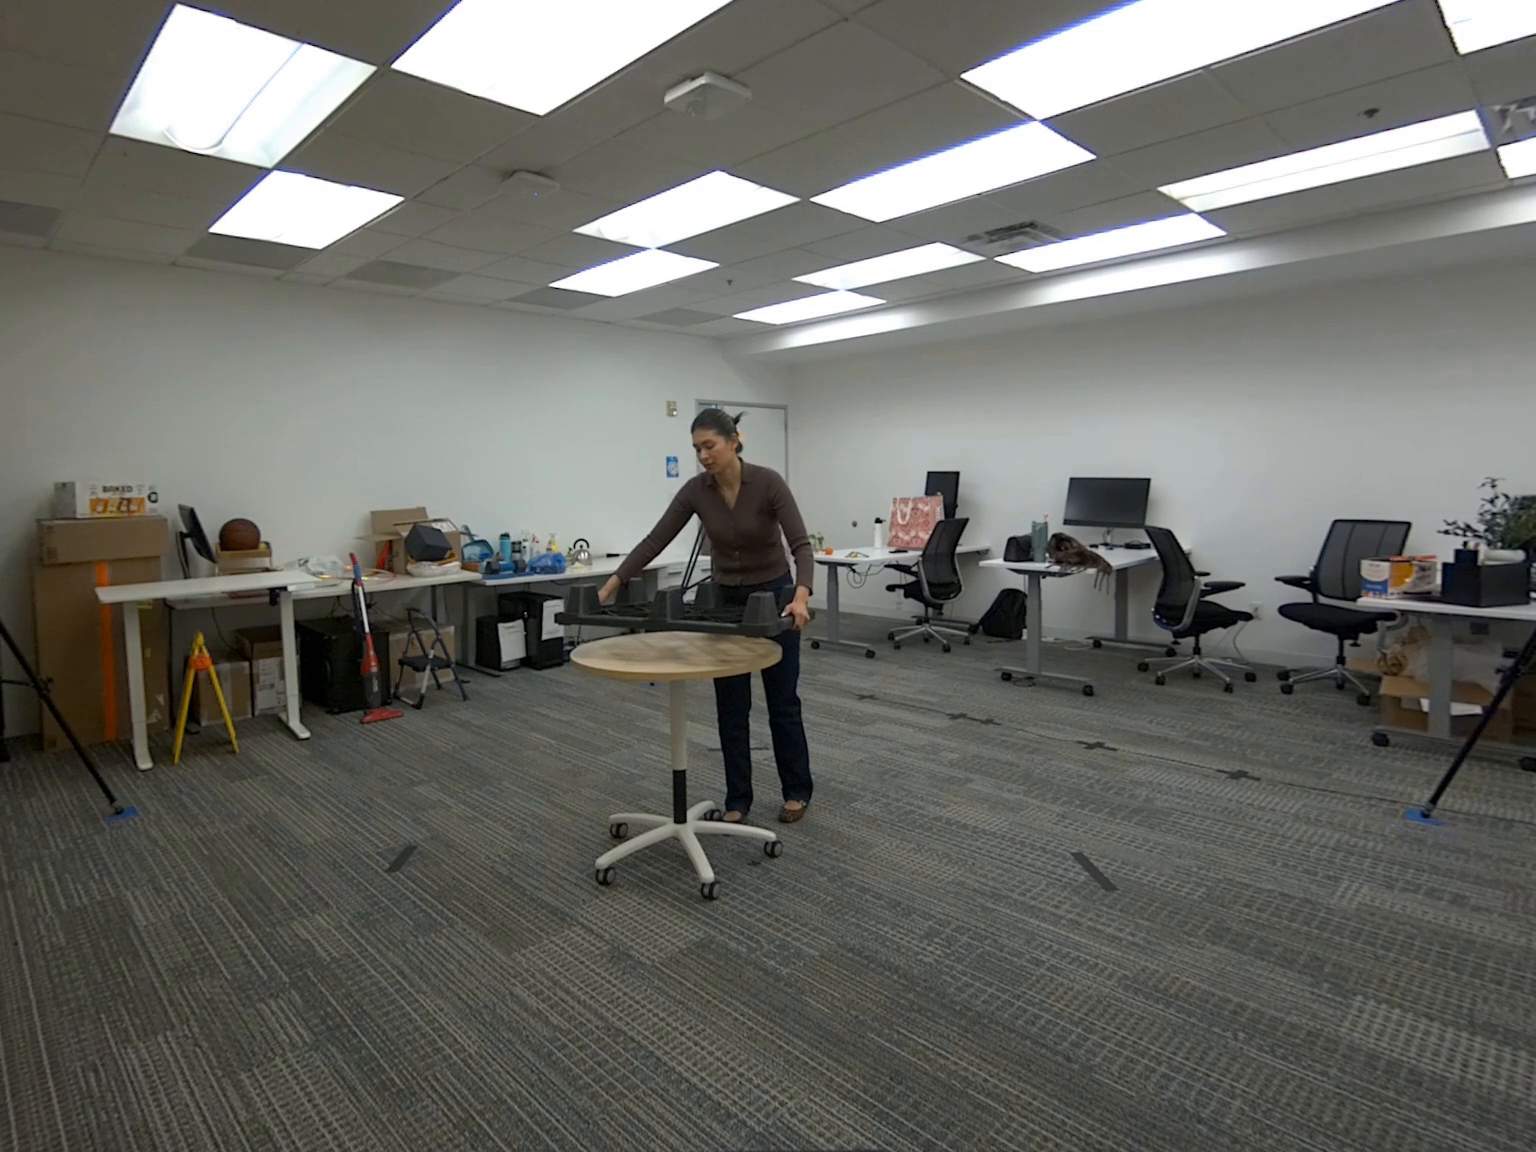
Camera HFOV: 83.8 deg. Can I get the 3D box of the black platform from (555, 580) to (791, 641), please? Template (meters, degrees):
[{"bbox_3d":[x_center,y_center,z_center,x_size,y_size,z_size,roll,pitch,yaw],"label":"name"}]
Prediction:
[{"bbox_3d":[-0.279,0.107,3.137,0.821,0.143,0.595,2,4,20],"label":"black platform"}]
